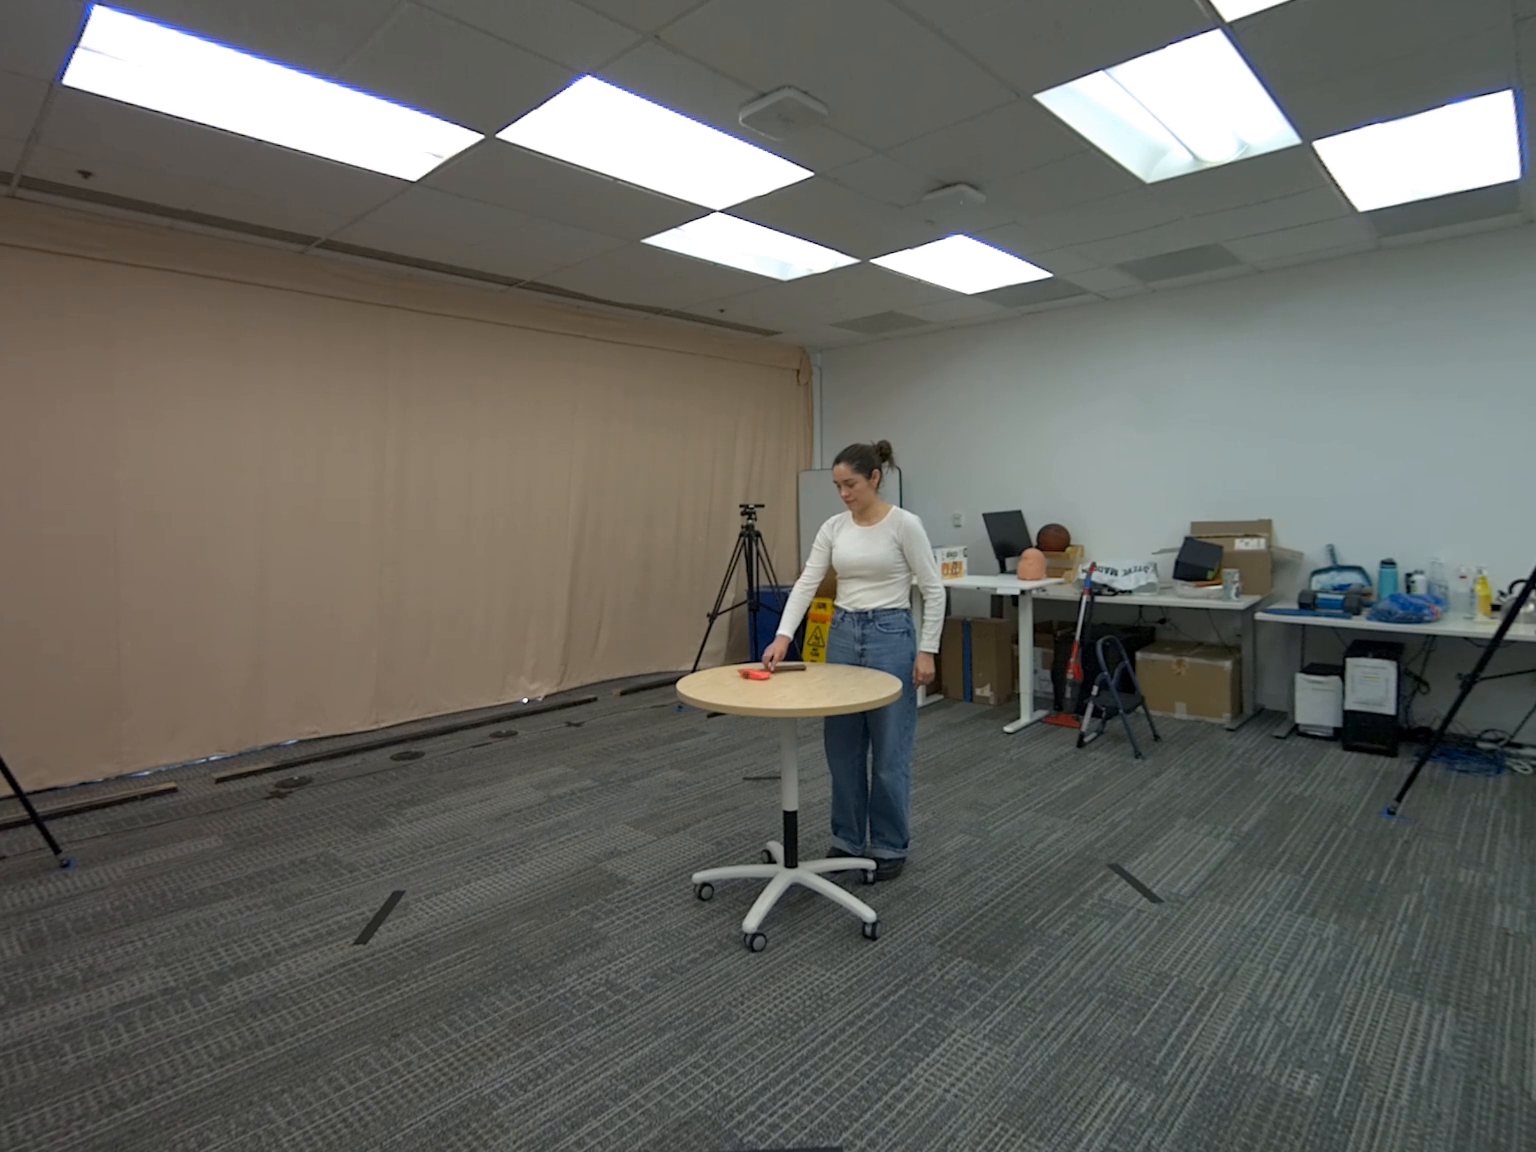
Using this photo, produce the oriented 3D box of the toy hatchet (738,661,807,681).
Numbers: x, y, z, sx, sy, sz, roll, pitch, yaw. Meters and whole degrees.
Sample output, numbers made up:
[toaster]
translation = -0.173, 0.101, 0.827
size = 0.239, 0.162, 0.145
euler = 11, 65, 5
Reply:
[toy hatchet]
translation = 0.032, 0.347, 2.996
size = 0.265, 0.029, 0.134
euler = 0, 3, -19
